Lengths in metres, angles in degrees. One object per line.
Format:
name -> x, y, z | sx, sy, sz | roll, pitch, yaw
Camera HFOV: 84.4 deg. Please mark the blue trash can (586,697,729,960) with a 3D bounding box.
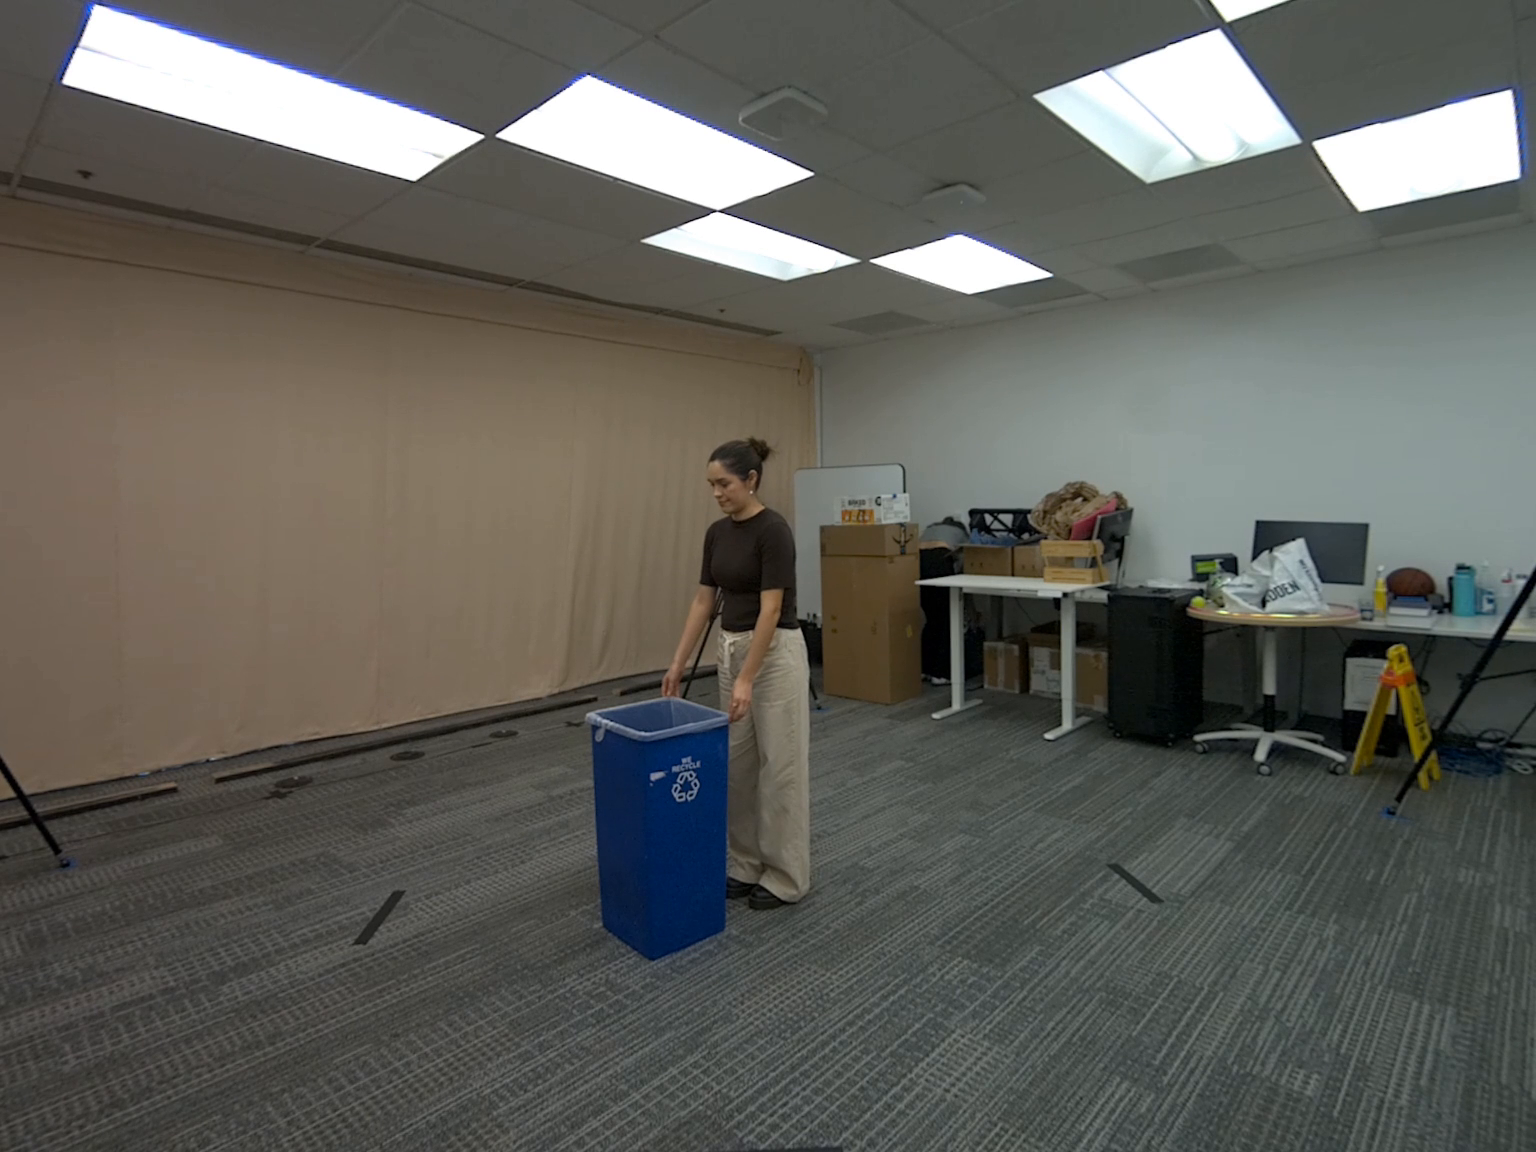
blue trash can -> -0.350, 0.807, 2.769 | 0.363, 0.712, 0.390 | -4, 4, -41
